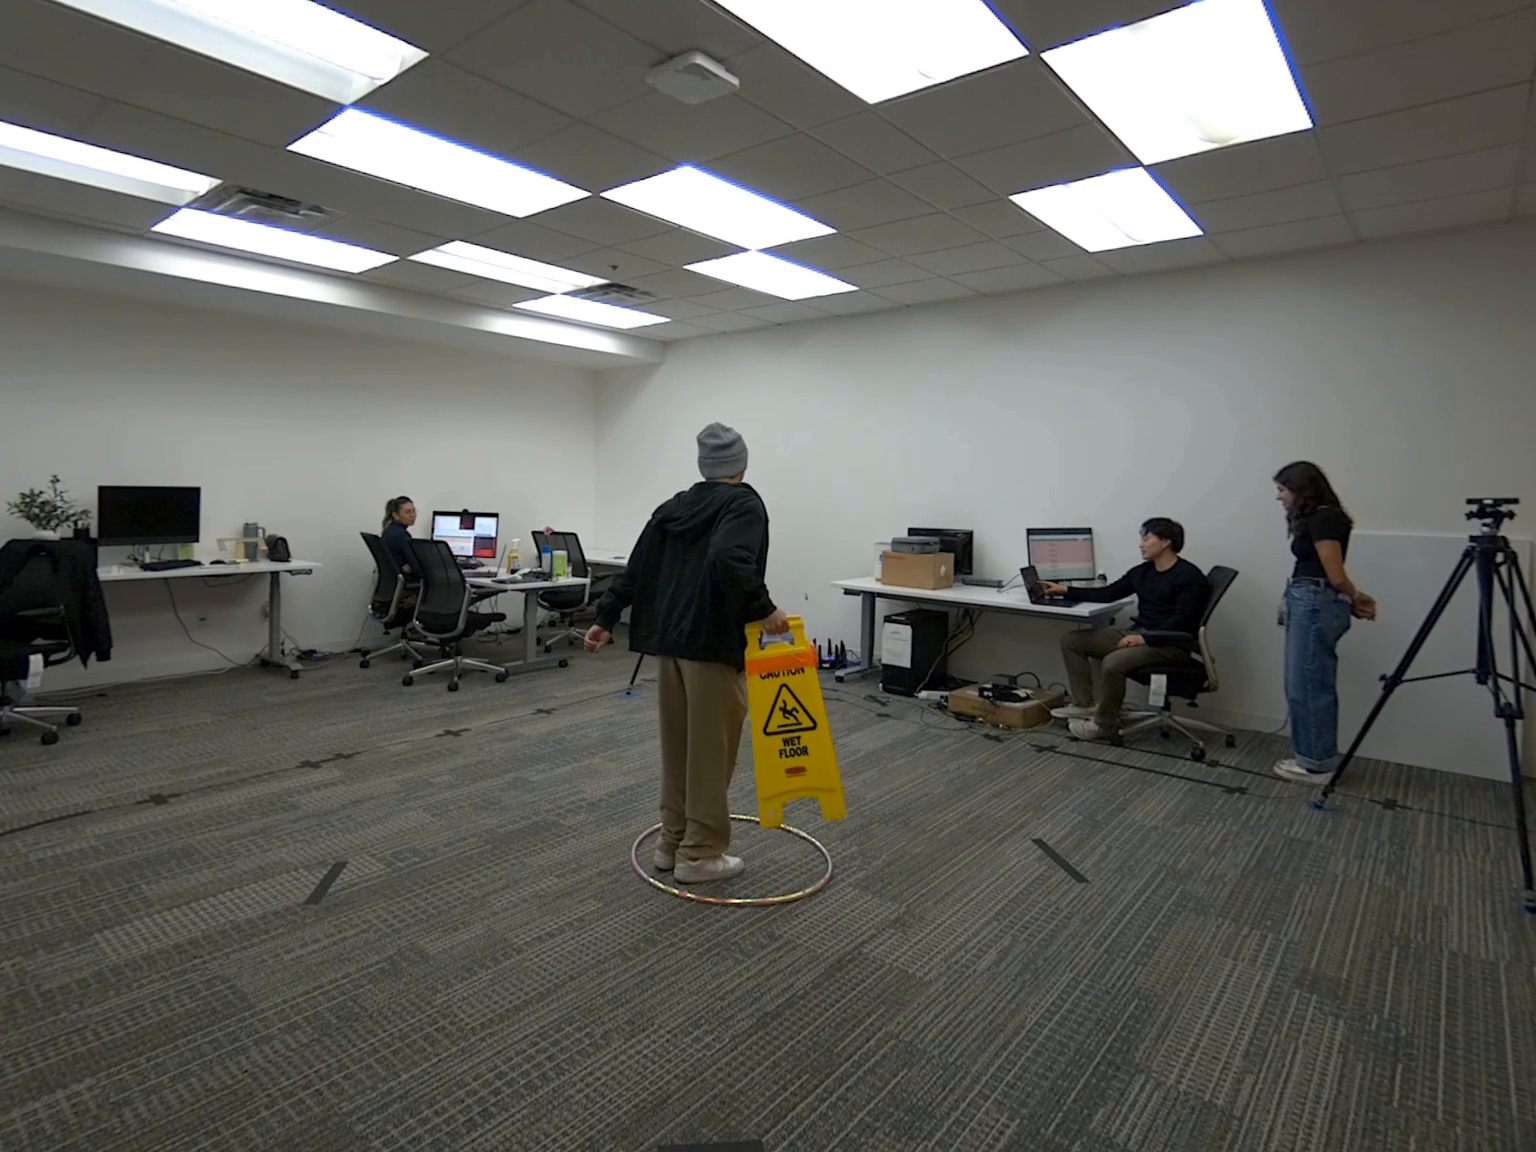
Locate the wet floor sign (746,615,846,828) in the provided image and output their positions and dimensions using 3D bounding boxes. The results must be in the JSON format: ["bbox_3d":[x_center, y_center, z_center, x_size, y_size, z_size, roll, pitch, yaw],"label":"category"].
[{"bbox_3d":[0.065,0.467,2.862,0.284,0.648,0.287,-7,-3,6],"label":"wet floor sign"}]
